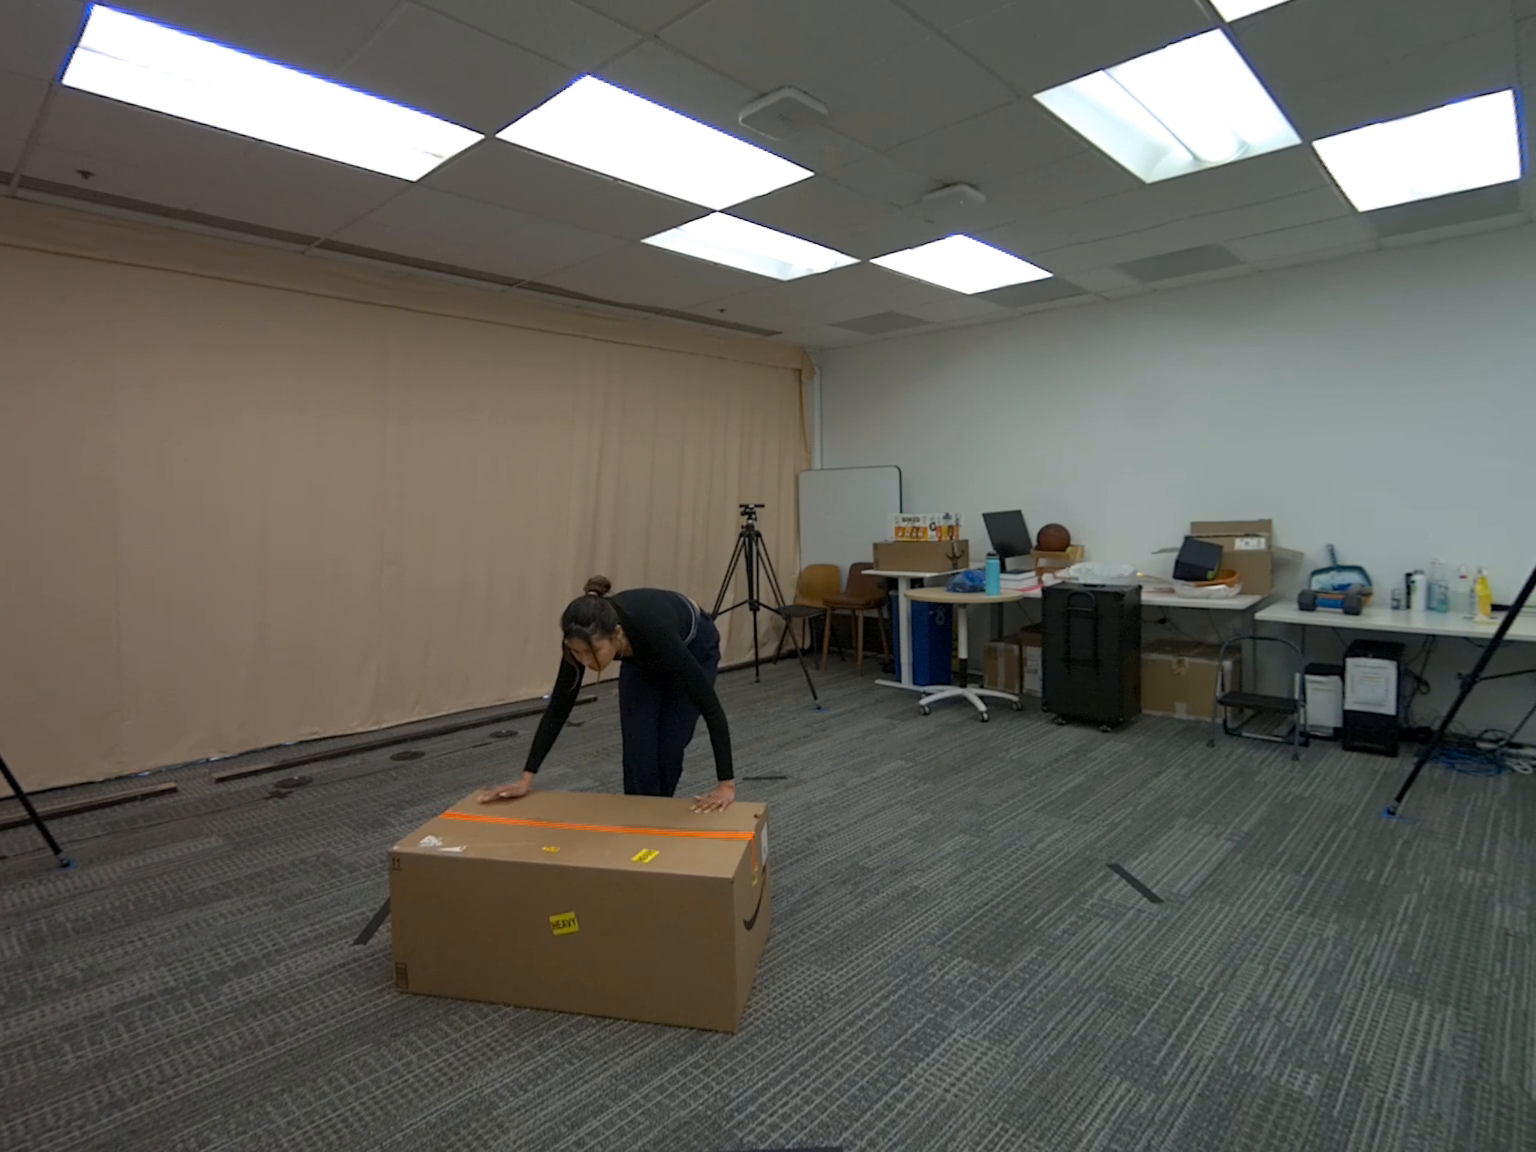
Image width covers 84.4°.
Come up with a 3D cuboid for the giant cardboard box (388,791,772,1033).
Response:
[{"bbox_3d":[-0.543,0.971,2.592,1.040,0.425,0.571,0,3,12],"label":"giant cardboard box"}]
